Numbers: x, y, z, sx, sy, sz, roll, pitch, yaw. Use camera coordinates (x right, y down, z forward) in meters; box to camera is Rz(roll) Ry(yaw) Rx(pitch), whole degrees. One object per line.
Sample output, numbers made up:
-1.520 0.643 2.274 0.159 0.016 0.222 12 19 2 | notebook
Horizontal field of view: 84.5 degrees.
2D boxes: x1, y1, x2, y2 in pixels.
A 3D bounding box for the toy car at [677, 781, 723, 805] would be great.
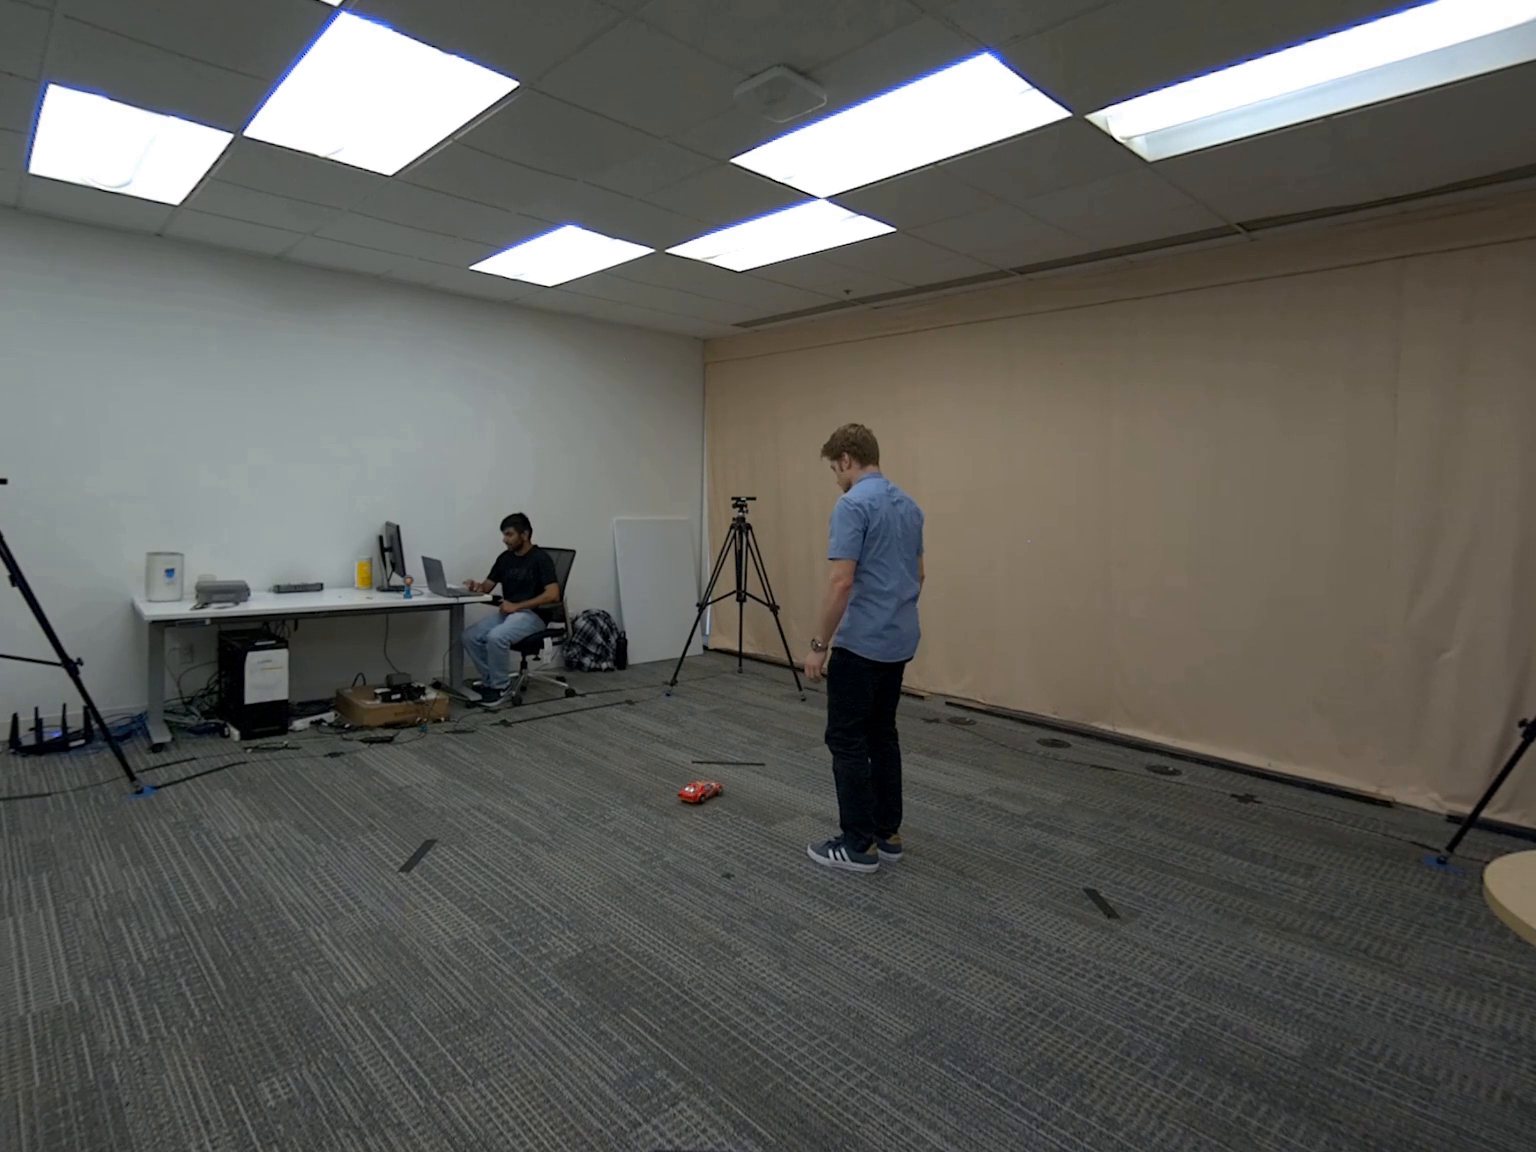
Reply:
-0.333 1.000 3.902 0.133 0.083 0.248 4 -7 31 | toy car
